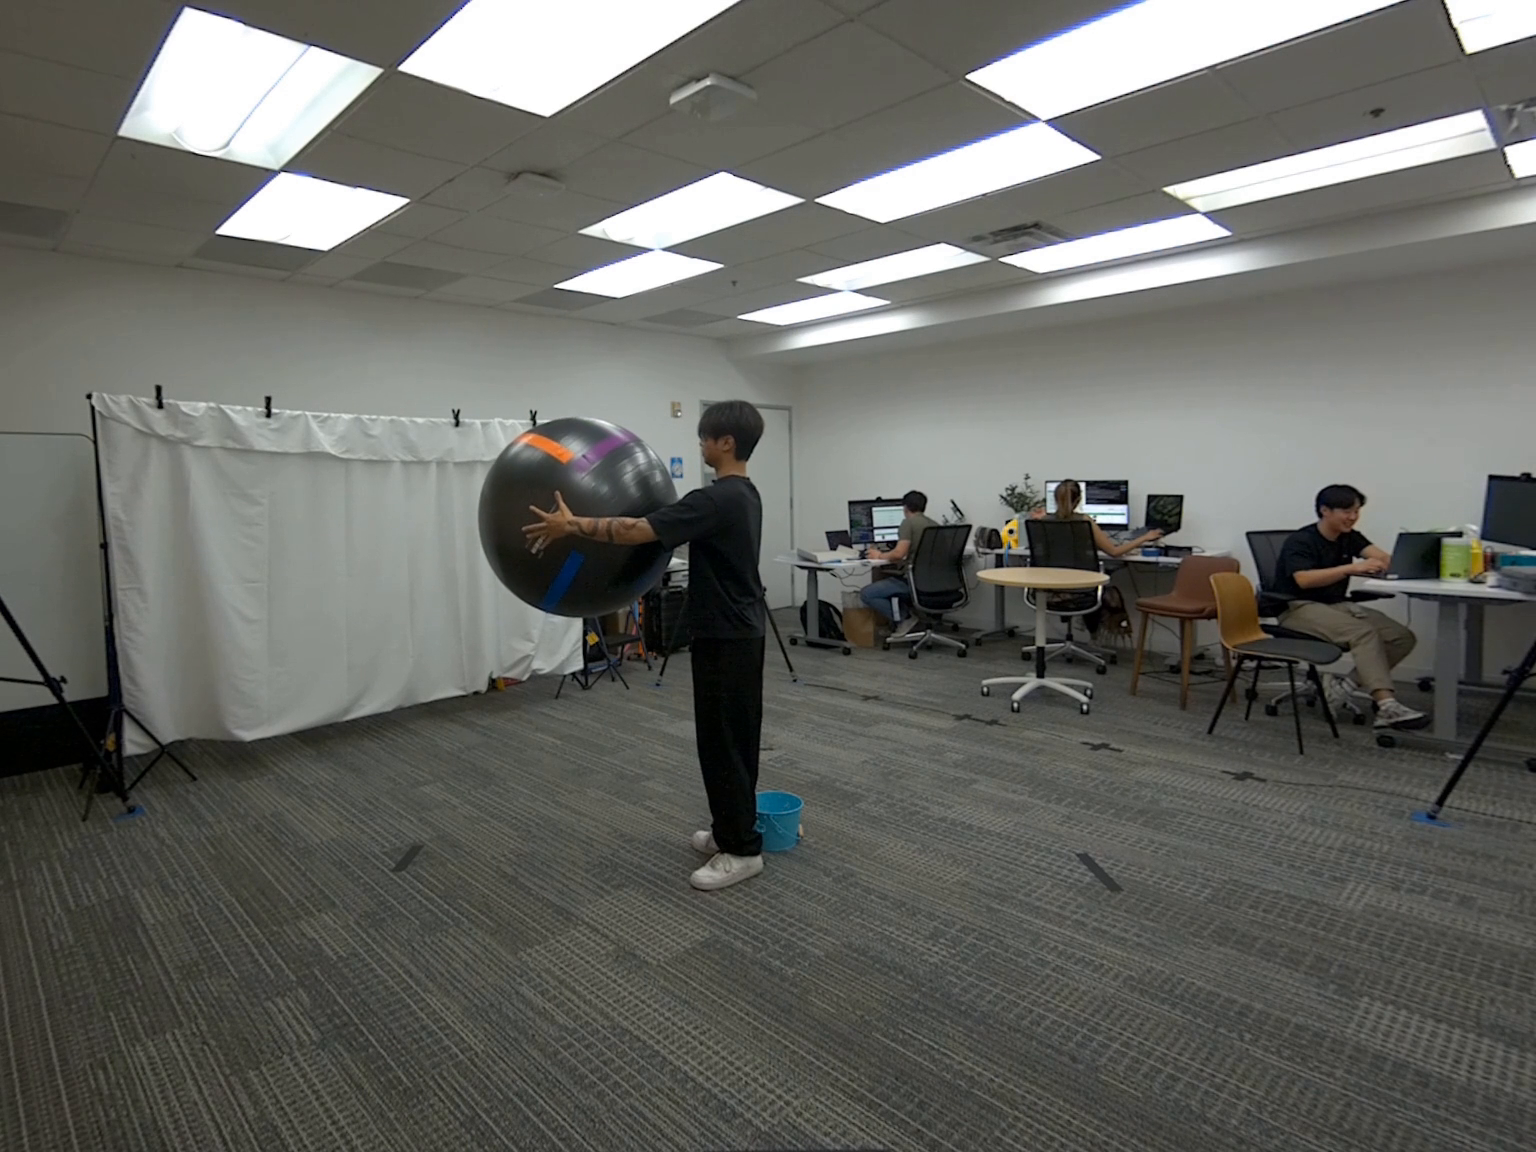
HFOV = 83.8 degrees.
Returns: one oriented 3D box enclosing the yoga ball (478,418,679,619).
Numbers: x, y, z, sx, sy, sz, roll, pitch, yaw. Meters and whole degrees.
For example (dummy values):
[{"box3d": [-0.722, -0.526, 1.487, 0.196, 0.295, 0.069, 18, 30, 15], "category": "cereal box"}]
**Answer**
[{"box3d": [-0.723, -0.215, 3.257, 0.757, 0.755, 0.762, -1, 5, -2], "category": "yoga ball"}]
